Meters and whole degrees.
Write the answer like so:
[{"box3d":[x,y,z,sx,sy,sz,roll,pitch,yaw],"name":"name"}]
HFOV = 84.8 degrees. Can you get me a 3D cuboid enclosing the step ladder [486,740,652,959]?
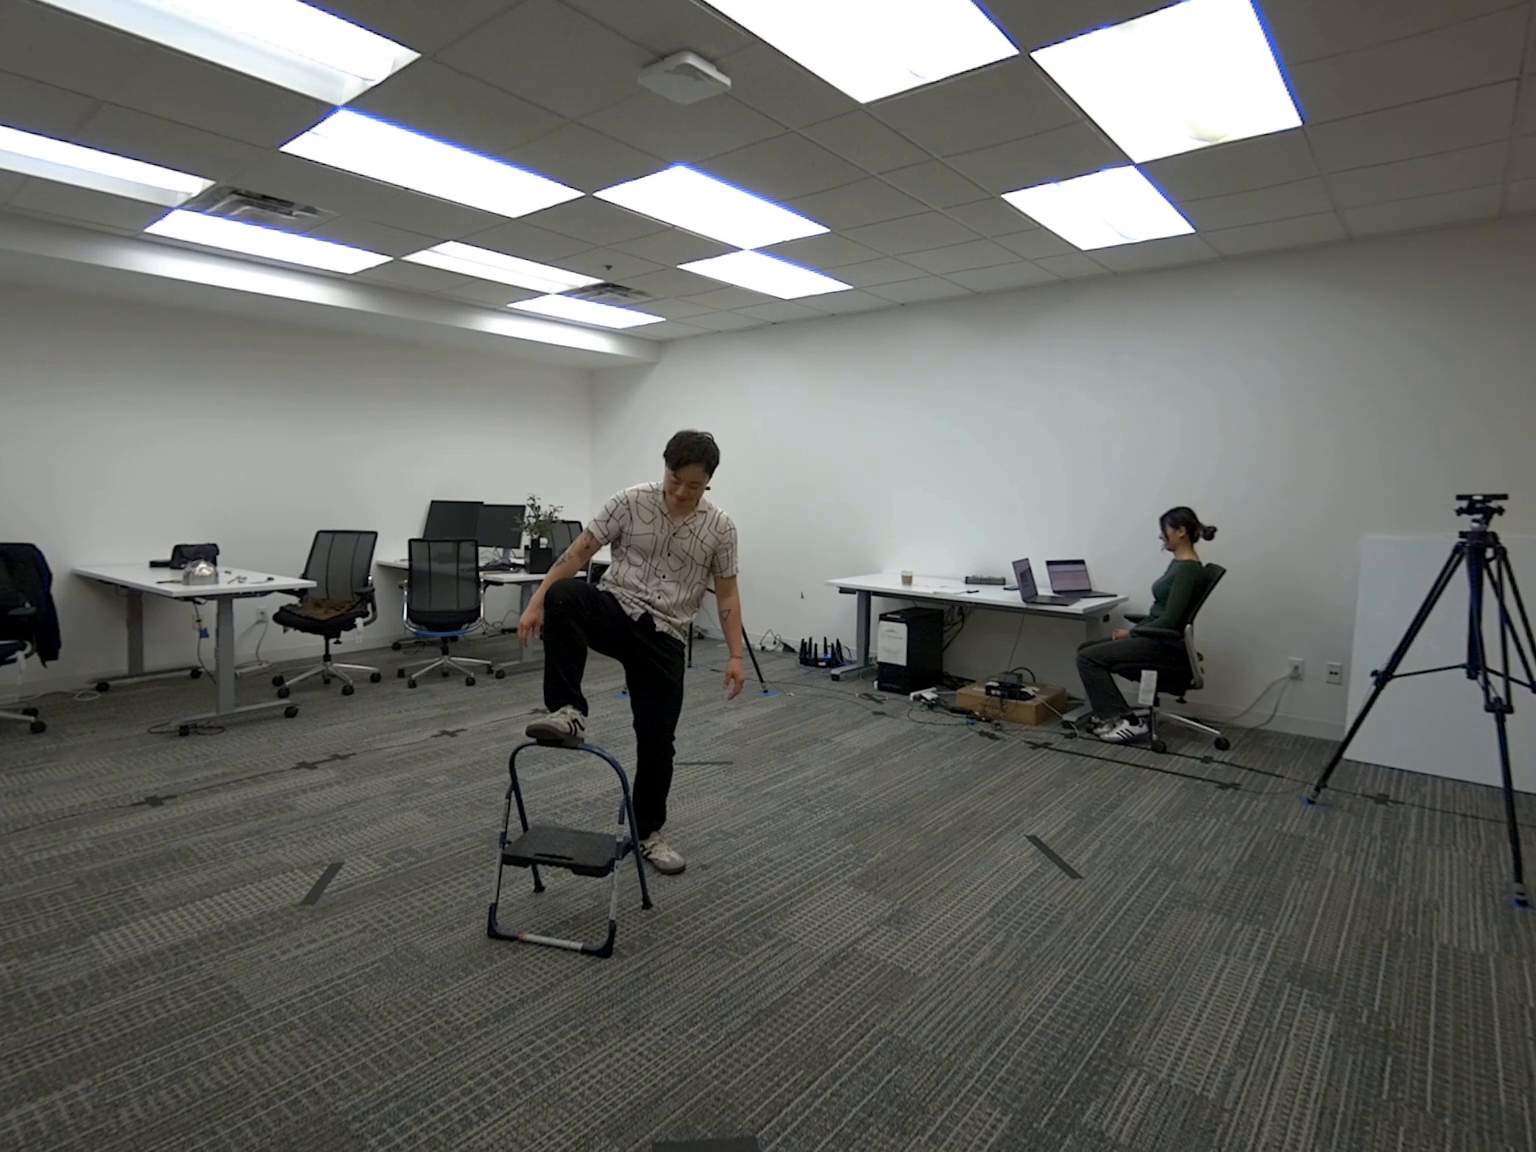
[{"box3d":[-0.636,0.797,2.701,0.437,0.604,0.345,1,3,14],"name":"step ladder"}]
